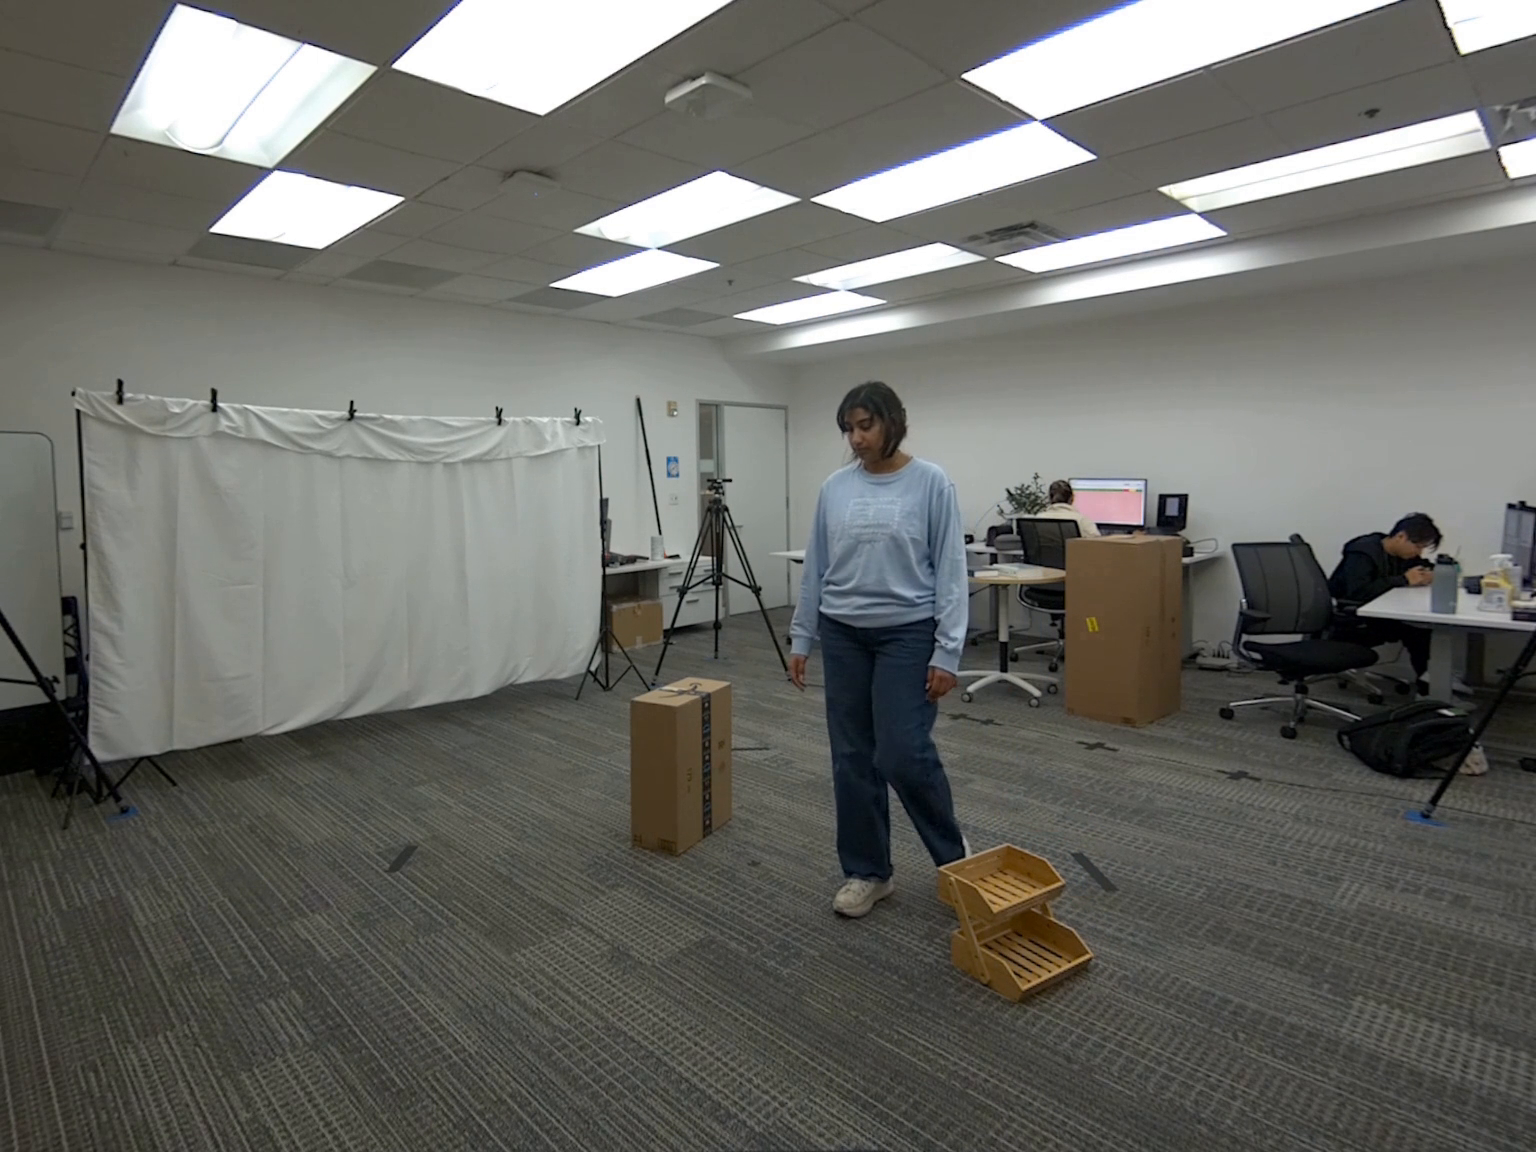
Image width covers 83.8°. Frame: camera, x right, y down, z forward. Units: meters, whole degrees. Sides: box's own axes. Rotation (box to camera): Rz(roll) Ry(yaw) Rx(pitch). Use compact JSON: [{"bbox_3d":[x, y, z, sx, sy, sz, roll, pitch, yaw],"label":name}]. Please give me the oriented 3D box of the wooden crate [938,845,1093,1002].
[{"bbox_3d":[0.714,0.981,2.430,0.316,0.272,0.311,-4,6,-33],"label":"wooden crate"}]
